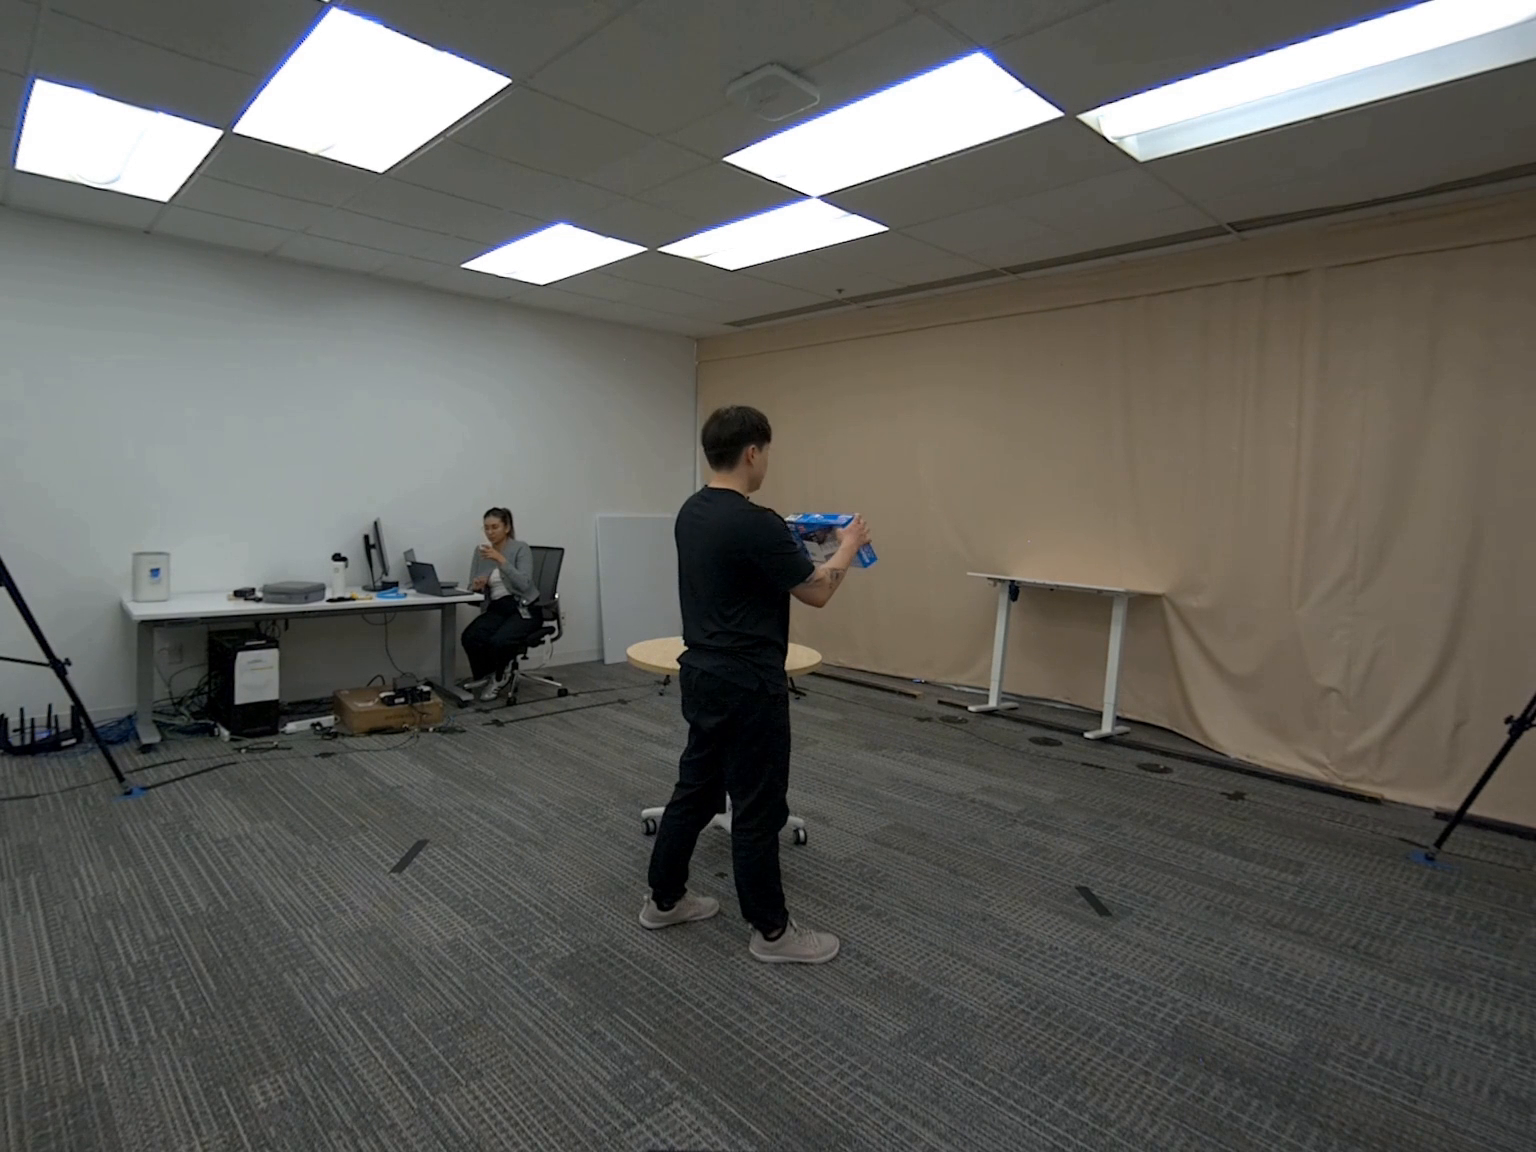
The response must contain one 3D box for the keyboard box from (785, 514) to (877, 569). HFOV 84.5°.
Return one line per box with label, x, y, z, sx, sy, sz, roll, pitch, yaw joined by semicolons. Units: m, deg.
keyboard box;0.199;-0.120;2.917;0.059;0.173;0.446;-34;17;-19
